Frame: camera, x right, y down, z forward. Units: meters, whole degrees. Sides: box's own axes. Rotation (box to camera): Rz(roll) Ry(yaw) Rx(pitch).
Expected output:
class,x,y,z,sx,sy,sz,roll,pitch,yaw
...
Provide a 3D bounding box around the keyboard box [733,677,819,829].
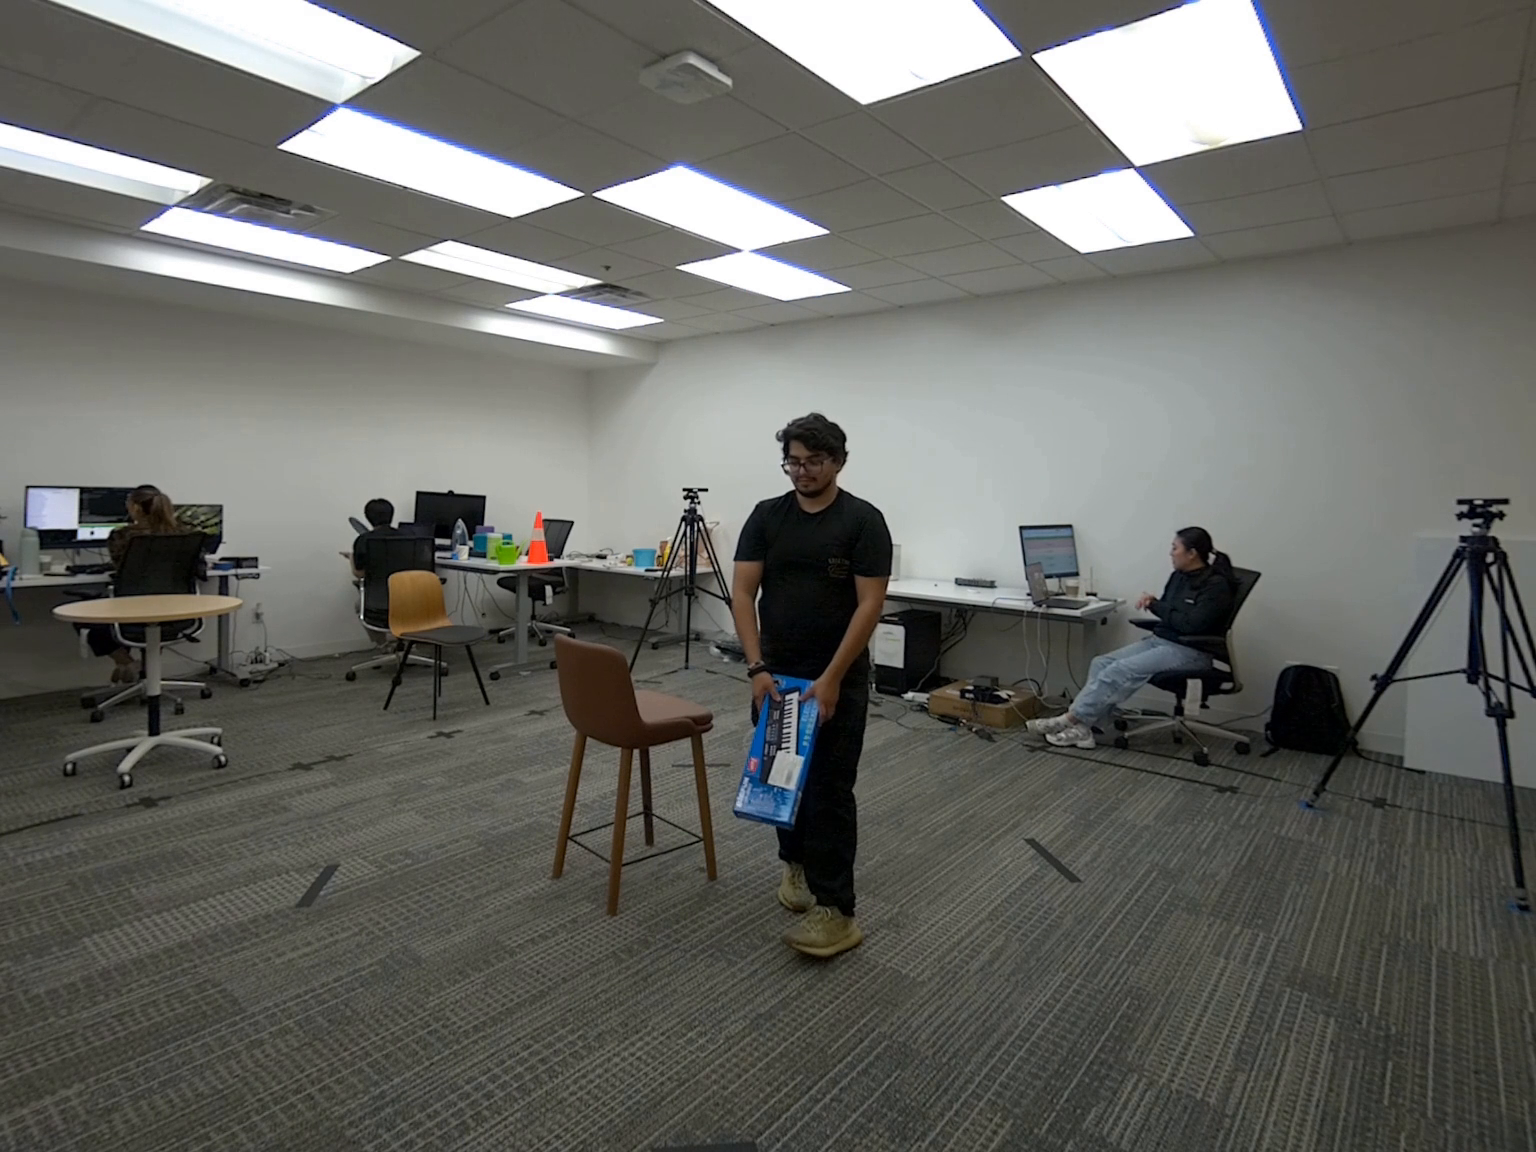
class,x,y,z,sx,sy,sz,roll,pitch,yaw
keyboard box,0.039,0.504,2.506,0.180,0.443,0.057,6,-34,20
